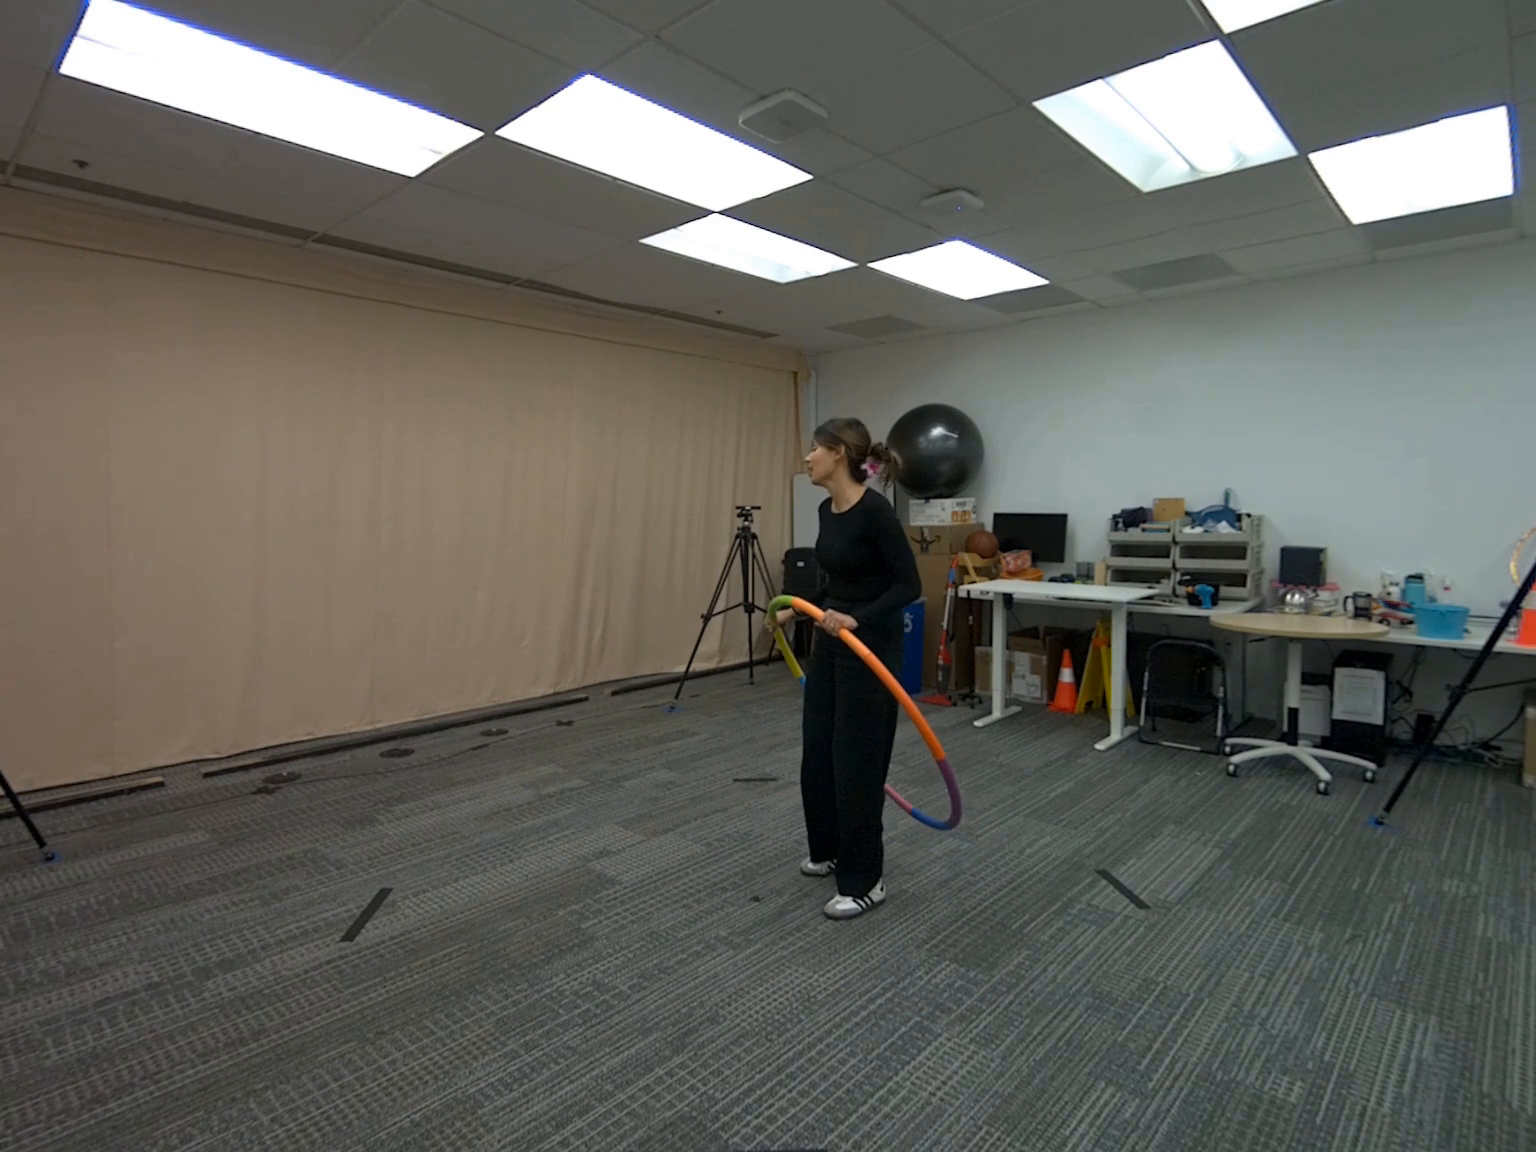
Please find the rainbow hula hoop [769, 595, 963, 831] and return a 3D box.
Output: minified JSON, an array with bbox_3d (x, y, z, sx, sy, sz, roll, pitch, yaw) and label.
[{"bbox_3d":[0.323,0.480,2.985,0.035,0.964,1.001,-36,15,-16],"label":"rainbow hula hoop"}]
